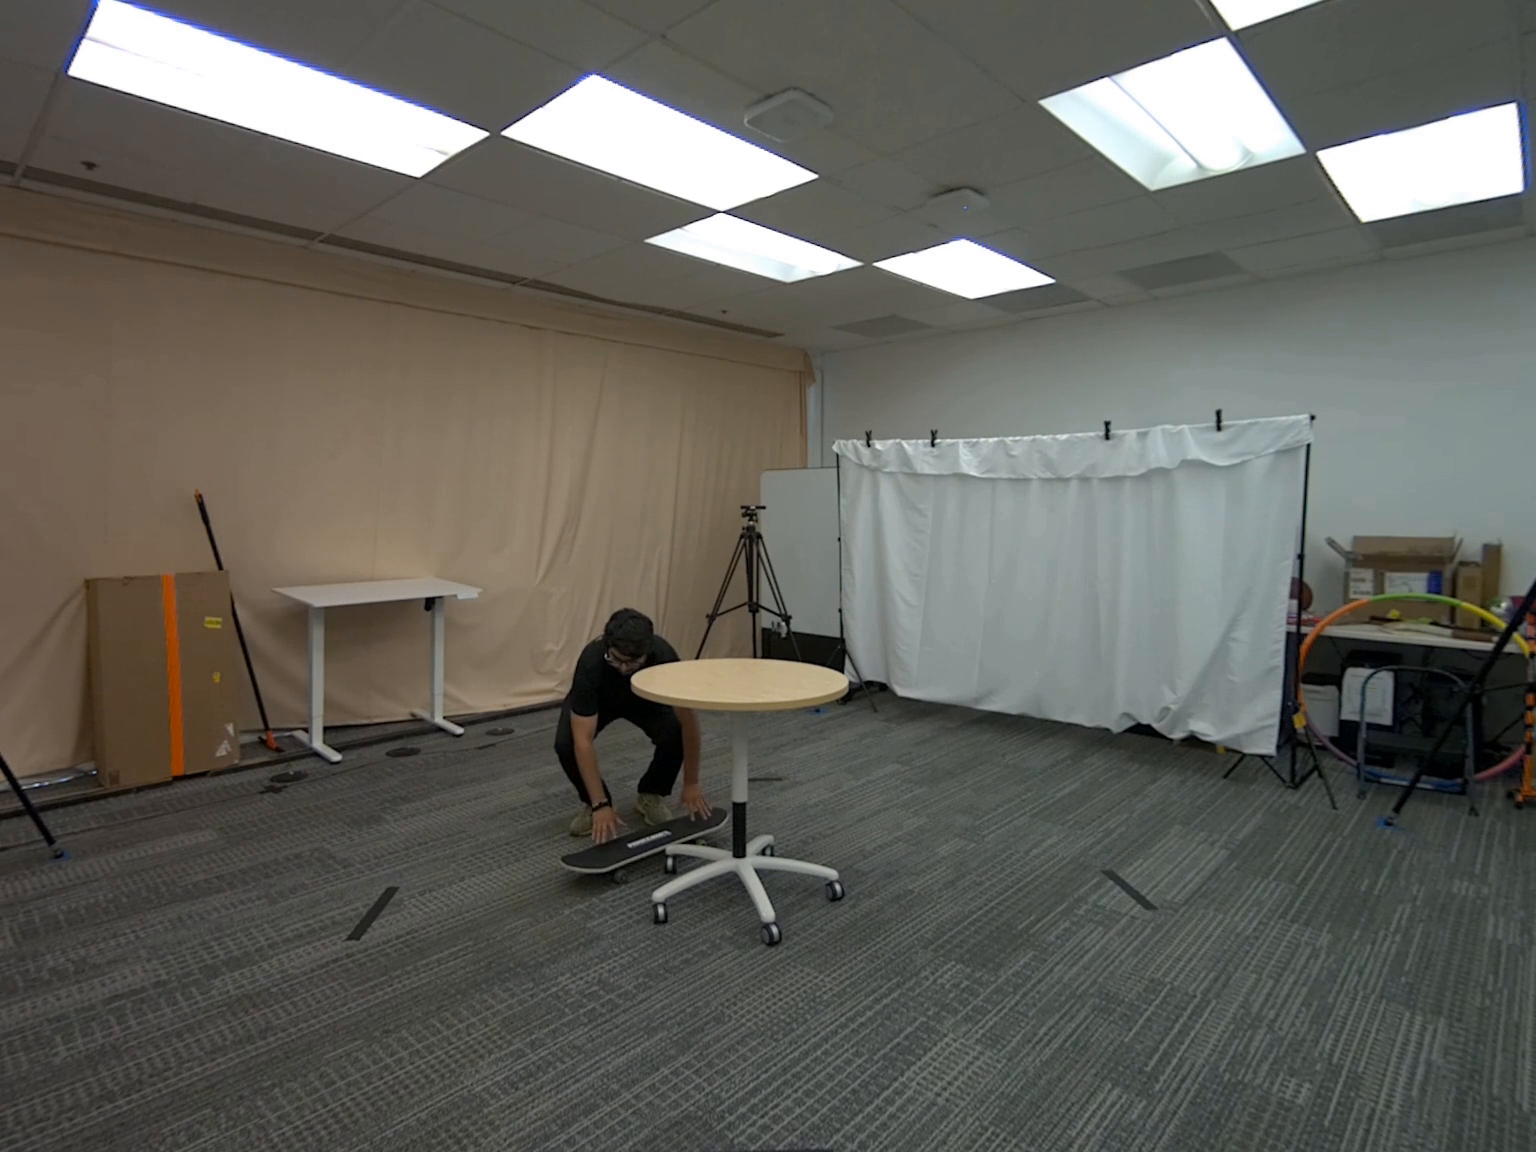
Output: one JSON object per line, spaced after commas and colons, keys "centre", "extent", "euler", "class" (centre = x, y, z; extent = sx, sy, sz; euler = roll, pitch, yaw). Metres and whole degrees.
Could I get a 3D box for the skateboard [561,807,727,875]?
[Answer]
{"centre": [-0.464, 1.060, 3.297], "extent": [0.761, 0.110, 0.200], "euler": [-5, 5, -44], "class": "skateboard"}
